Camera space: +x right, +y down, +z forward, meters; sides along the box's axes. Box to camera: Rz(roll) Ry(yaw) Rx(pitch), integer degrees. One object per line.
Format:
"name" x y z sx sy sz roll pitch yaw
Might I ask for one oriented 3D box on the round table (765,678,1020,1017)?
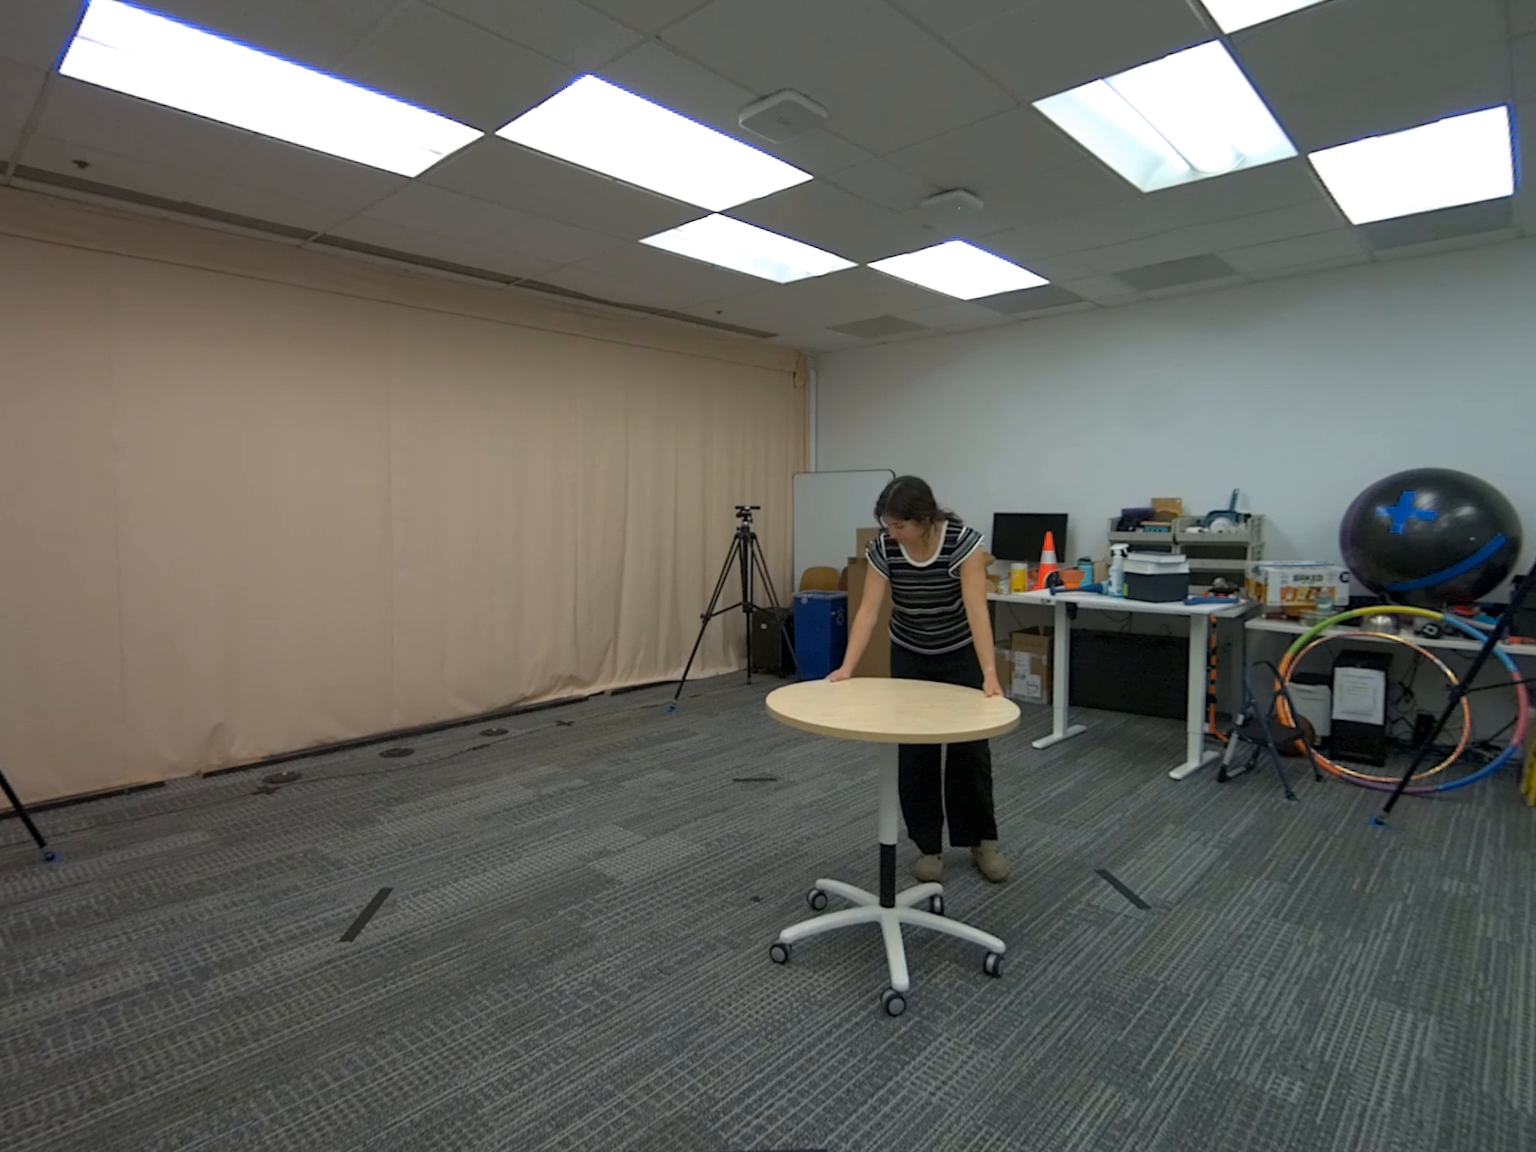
"round table" 0.370 0.784 2.625 0.763 0.792 0.766 0 3 -2
